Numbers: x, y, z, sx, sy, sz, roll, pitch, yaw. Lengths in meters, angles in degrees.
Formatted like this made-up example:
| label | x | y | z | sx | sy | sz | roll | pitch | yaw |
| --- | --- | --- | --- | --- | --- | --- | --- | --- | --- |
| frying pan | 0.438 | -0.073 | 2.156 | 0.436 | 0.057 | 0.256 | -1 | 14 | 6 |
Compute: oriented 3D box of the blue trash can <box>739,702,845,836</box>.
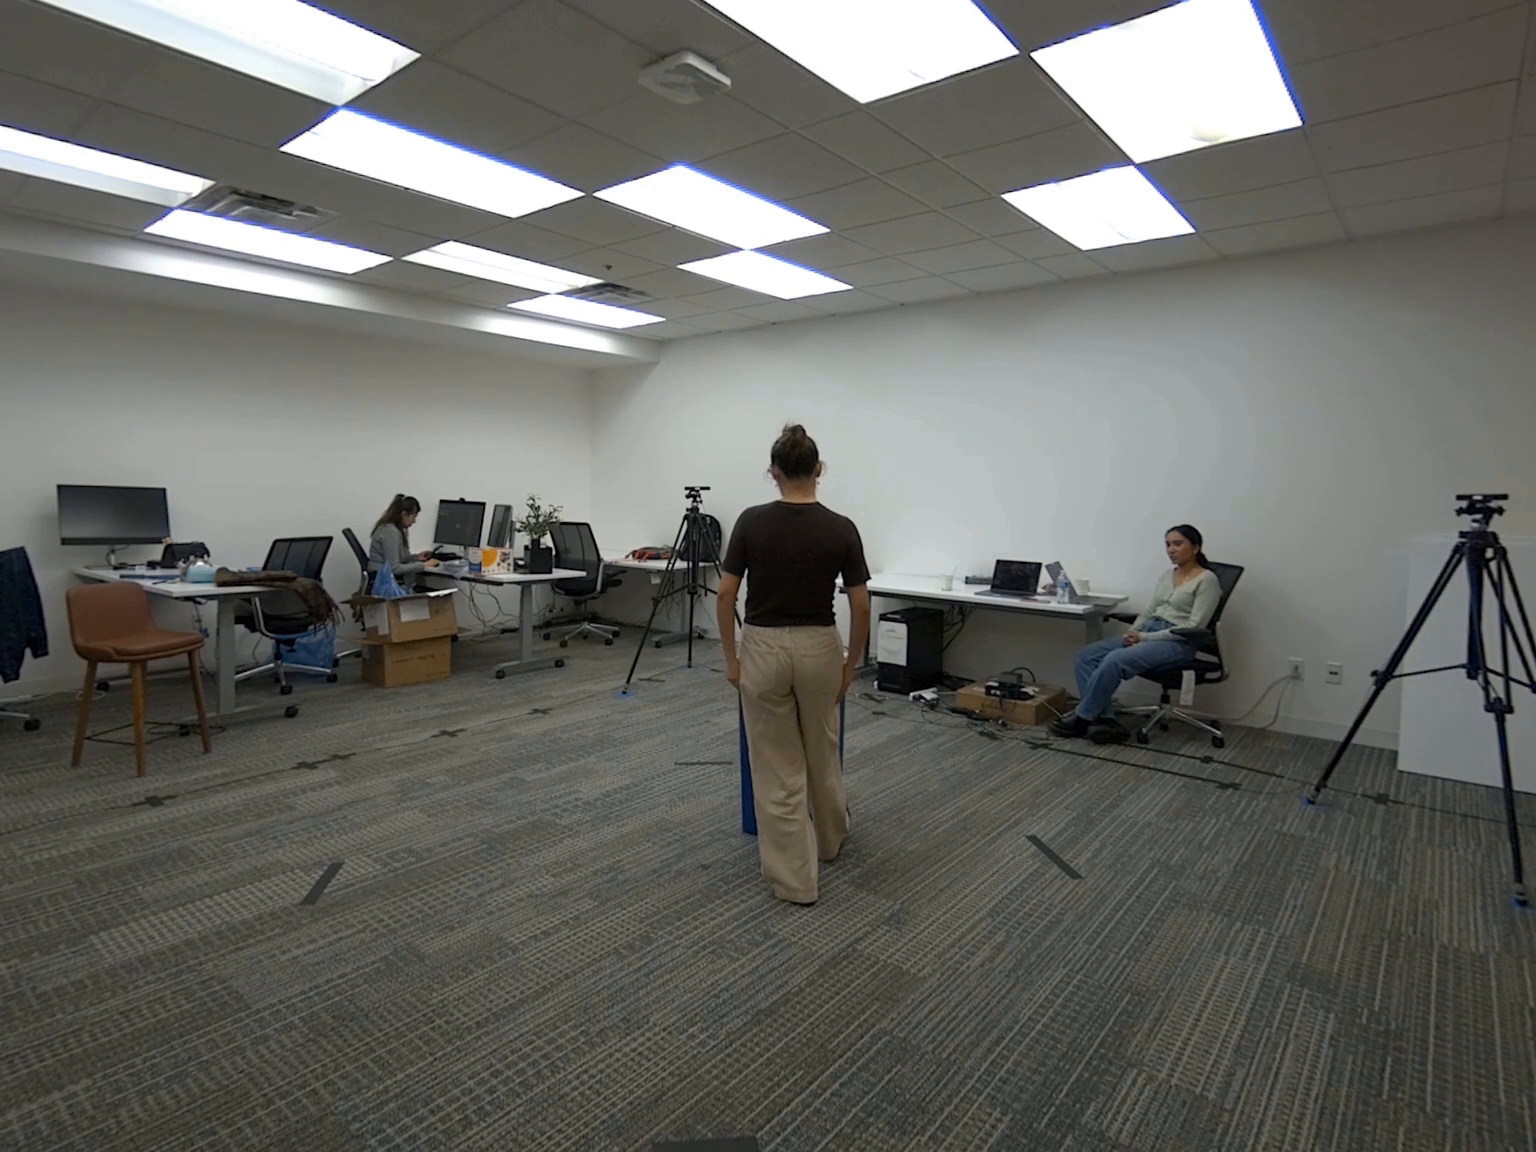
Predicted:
| label | x | y | z | sx | sy | sz | roll | pitch | yaw |
| --- | --- | --- | --- | --- | --- | --- | --- | --- | --- |
| blue trash can | 0.094 | 0.671 | 3.476 | 0.389 | 0.711 | 0.364 | 2 | 4 | 31 |
